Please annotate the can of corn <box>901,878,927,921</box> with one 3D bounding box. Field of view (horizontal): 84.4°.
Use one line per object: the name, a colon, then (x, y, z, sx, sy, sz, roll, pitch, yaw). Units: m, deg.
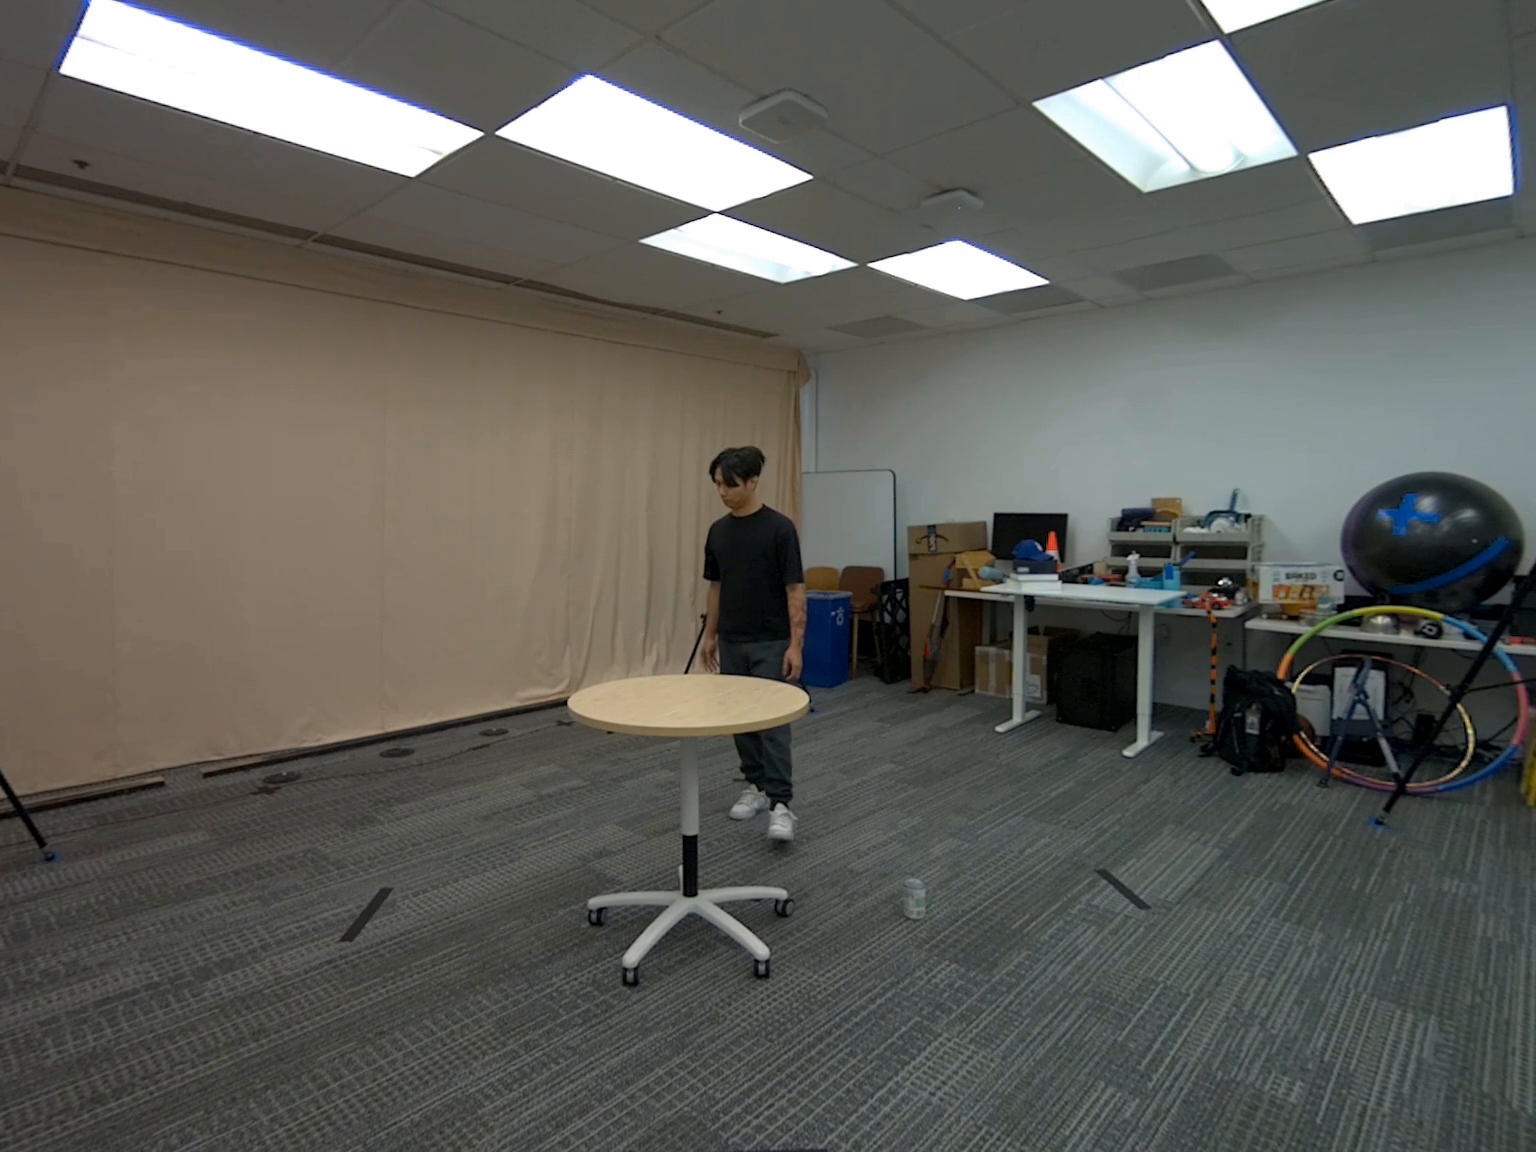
can of corn: (0.504, 1.102, 2.853, 0.074, 0.111, 0.074, 0, 2, -2)
